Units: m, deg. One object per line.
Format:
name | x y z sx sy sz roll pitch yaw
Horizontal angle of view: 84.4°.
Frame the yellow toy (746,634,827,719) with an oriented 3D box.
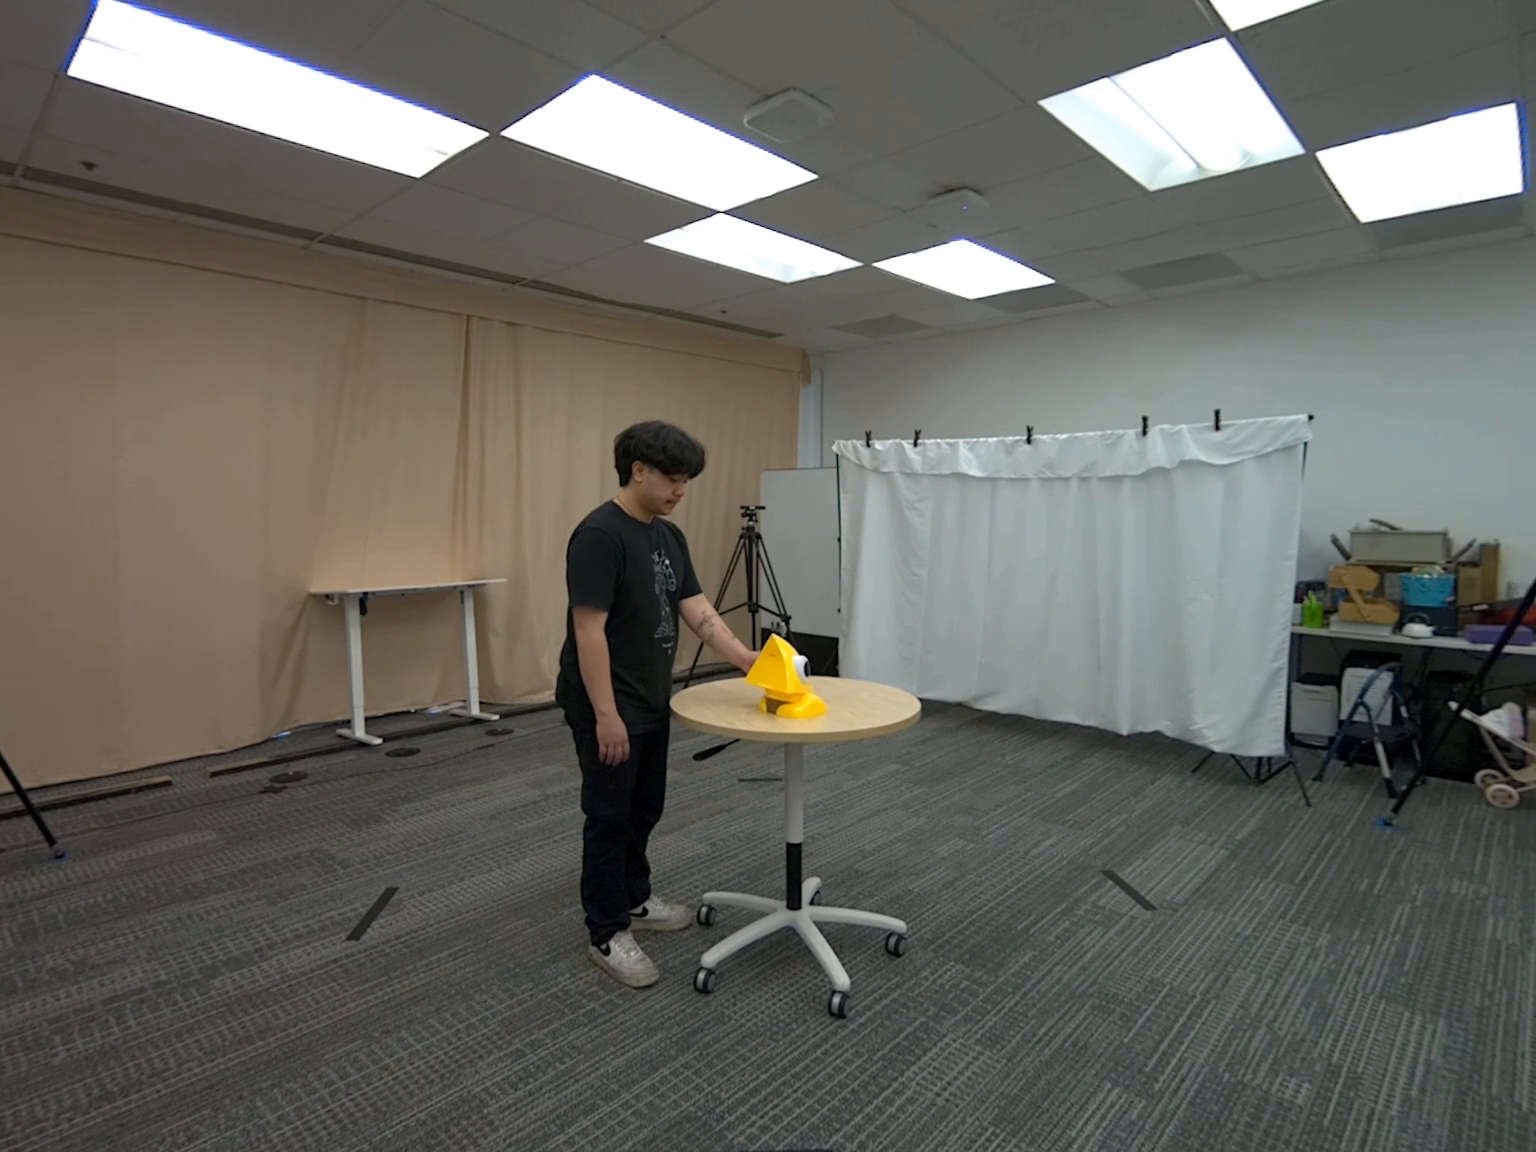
yellow toy | 0.067 0.282 2.453 0.187 0.230 0.211 -2 3 -37
